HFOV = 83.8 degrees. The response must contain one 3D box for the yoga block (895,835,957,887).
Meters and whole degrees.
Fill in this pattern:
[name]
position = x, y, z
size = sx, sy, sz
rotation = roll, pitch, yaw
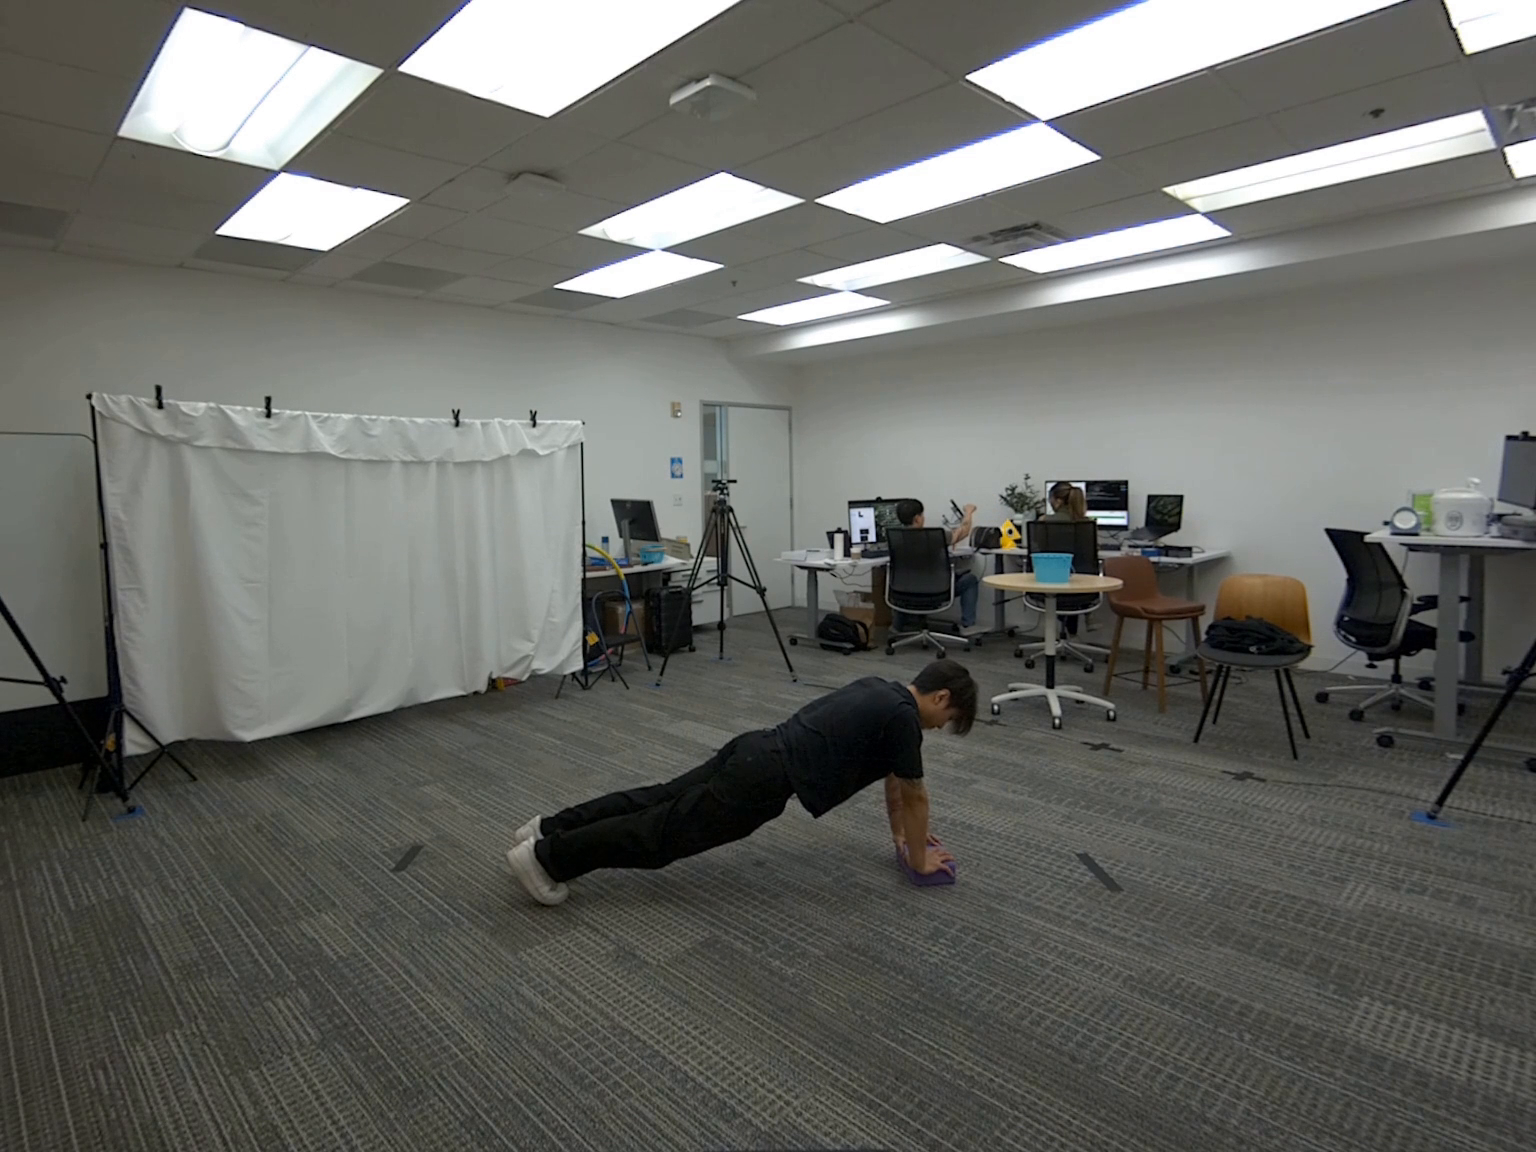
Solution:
[yoga block]
position = 0.554, 1.000, 3.023
size = 0.148, 0.076, 0.231
rotation = -1, 5, -7
